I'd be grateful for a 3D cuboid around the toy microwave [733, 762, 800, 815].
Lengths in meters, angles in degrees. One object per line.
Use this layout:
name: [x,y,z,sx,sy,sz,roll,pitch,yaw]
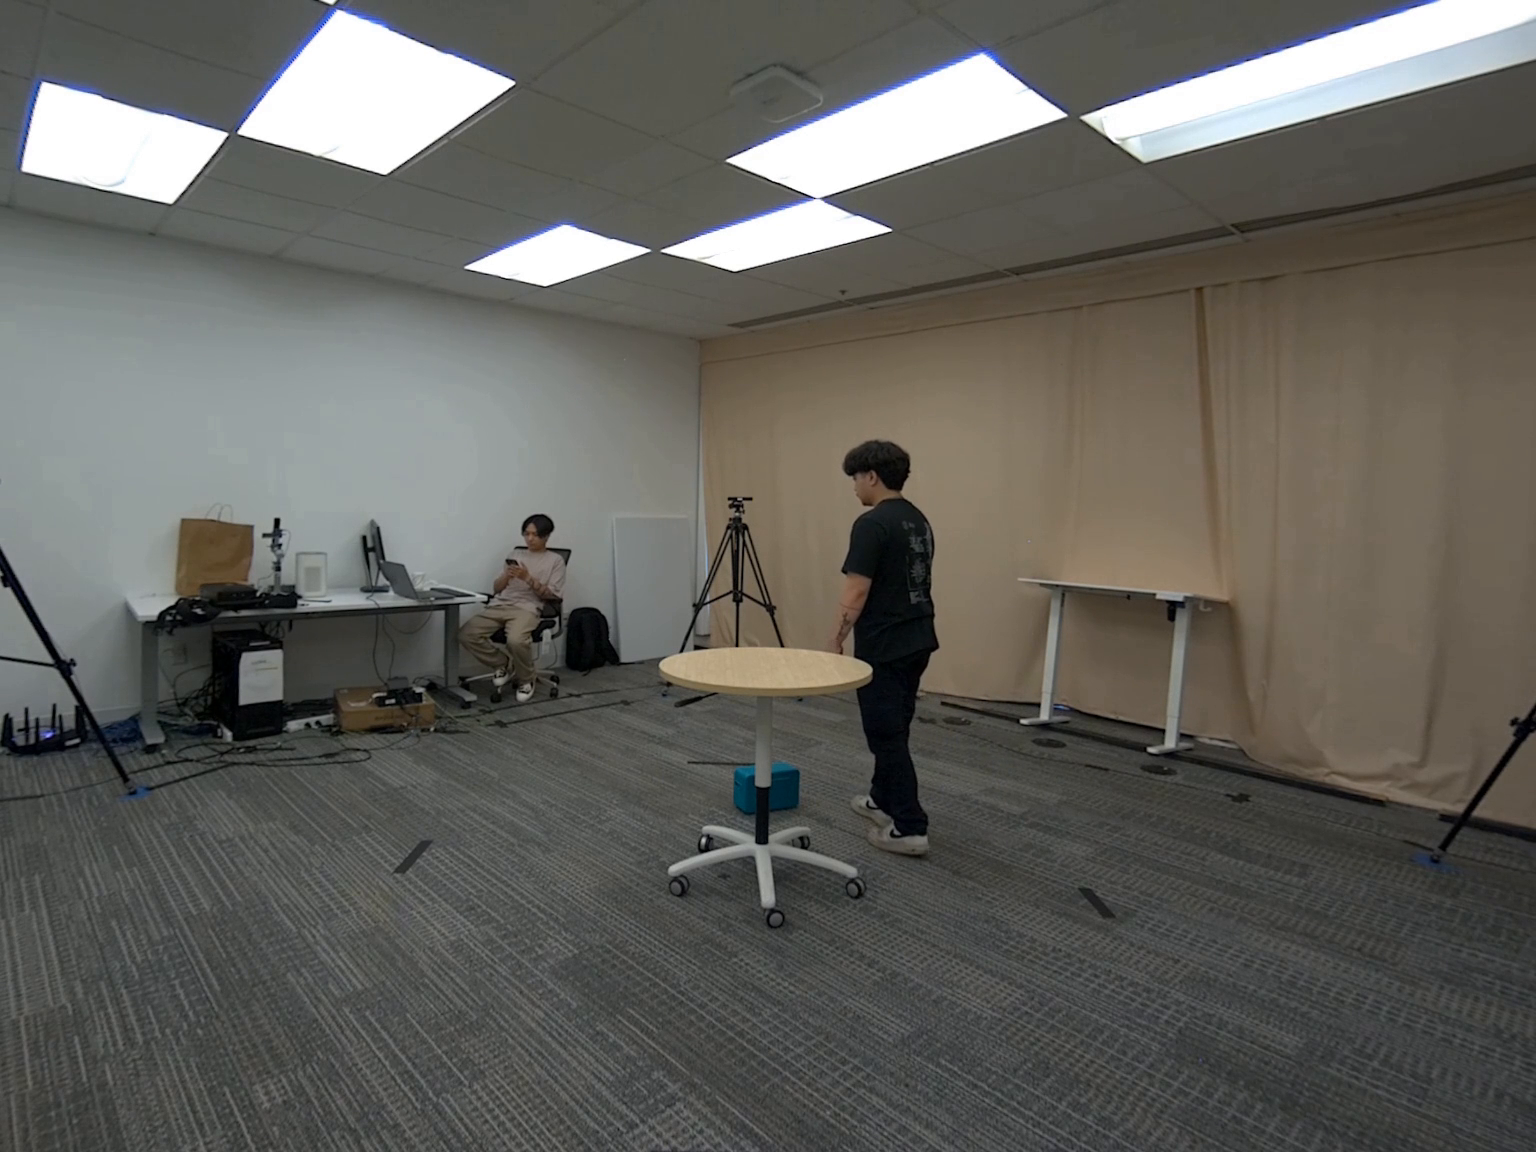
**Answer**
toy microwave: [-0.018,0.957,3.827,0.281,0.184,0.155,0,4,-28]
